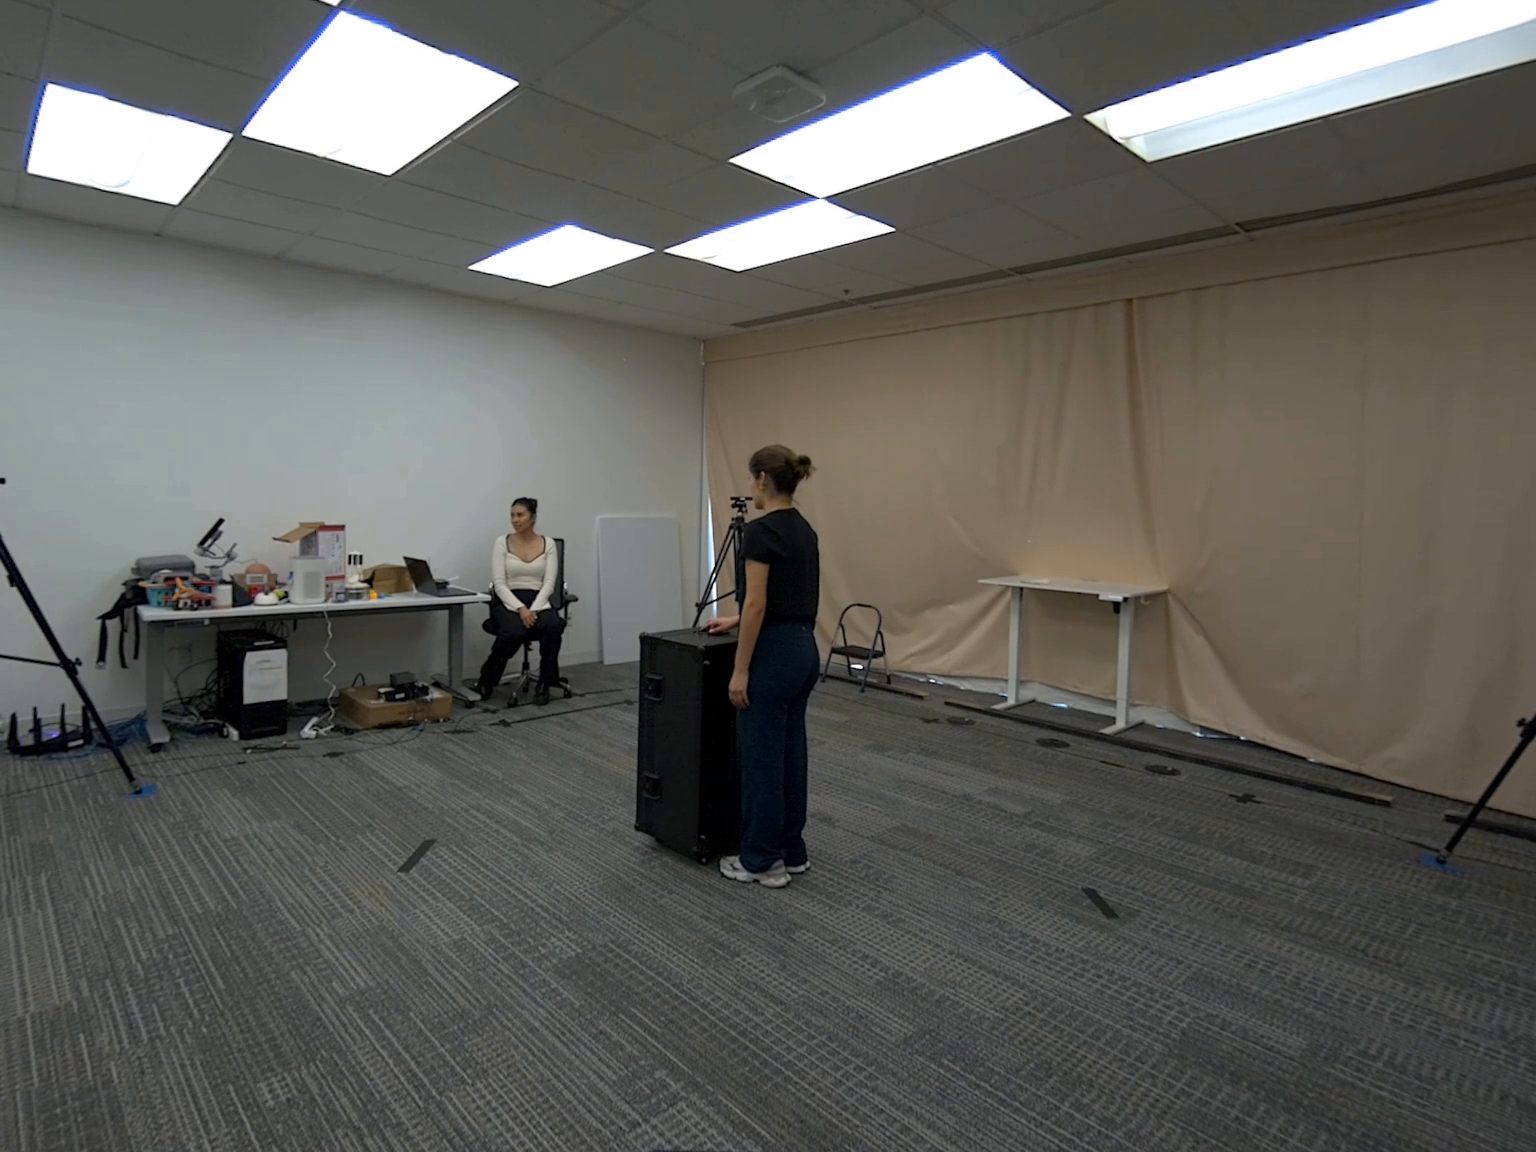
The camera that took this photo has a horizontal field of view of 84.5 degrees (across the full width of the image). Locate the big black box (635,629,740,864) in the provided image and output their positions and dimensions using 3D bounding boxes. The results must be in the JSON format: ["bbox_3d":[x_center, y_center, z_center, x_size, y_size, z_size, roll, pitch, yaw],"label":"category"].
[{"bbox_3d":[-0.235,0.659,3.360,0.406,0.859,0.509,4,5,42],"label":"big black box"}]
